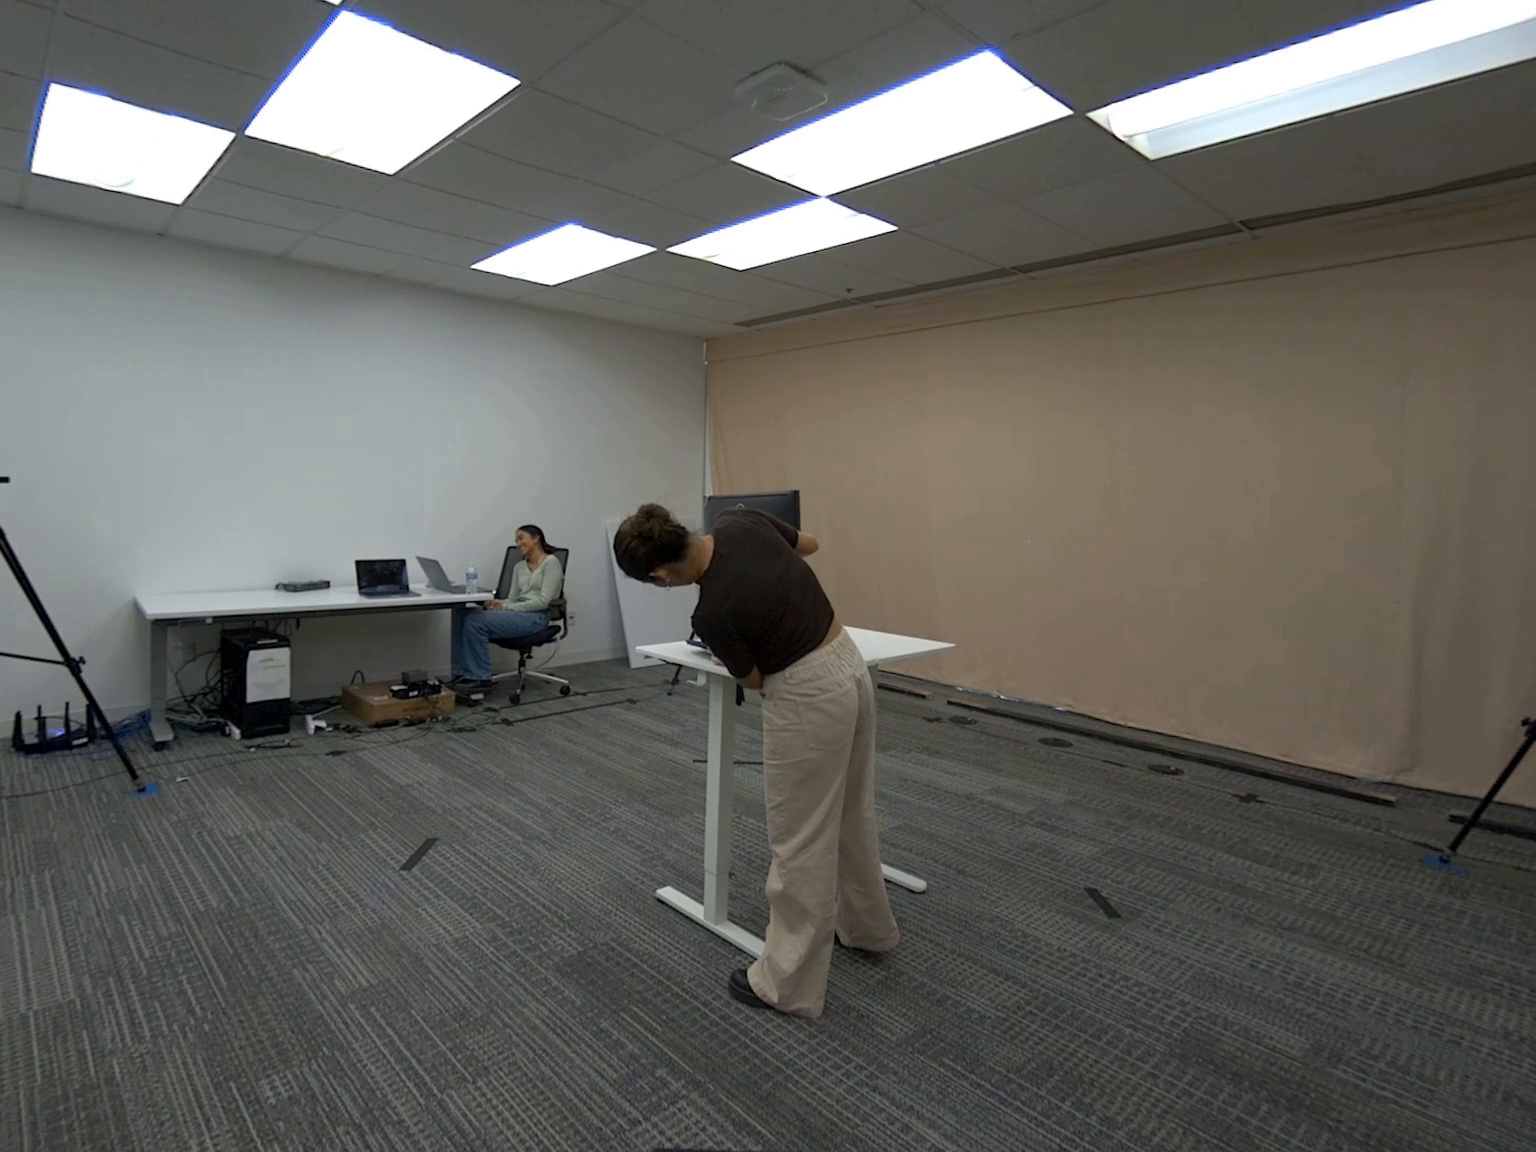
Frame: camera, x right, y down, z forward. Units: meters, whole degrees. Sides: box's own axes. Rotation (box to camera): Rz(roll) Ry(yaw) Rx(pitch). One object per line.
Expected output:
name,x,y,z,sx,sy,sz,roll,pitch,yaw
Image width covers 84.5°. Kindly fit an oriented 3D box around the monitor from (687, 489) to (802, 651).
monitor,-0.101,-0.004,2.678,0.182,0.524,0.551,11,-4,-33
